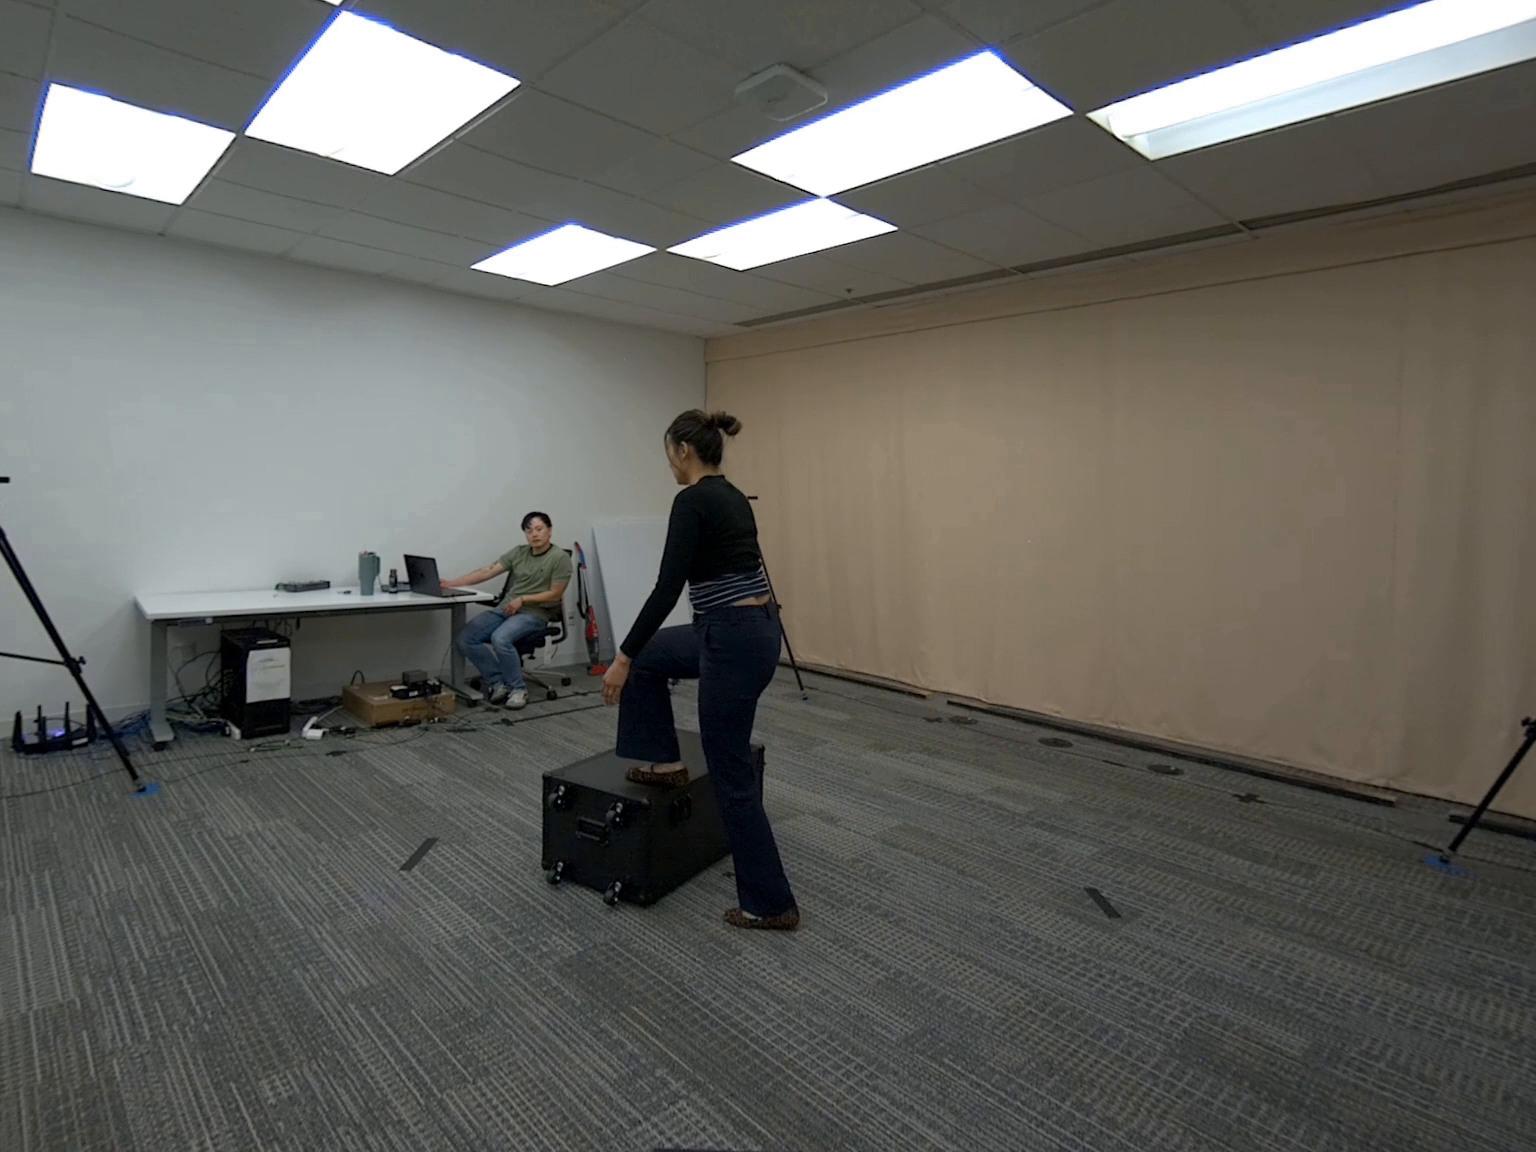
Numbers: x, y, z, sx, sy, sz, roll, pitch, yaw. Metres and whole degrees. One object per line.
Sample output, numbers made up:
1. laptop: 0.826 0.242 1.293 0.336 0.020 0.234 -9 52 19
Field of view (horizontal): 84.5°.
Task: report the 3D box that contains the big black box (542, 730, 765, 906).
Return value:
1. big black box: -0.444 0.897 3.232 0.533 0.395 0.845 5 6 30
